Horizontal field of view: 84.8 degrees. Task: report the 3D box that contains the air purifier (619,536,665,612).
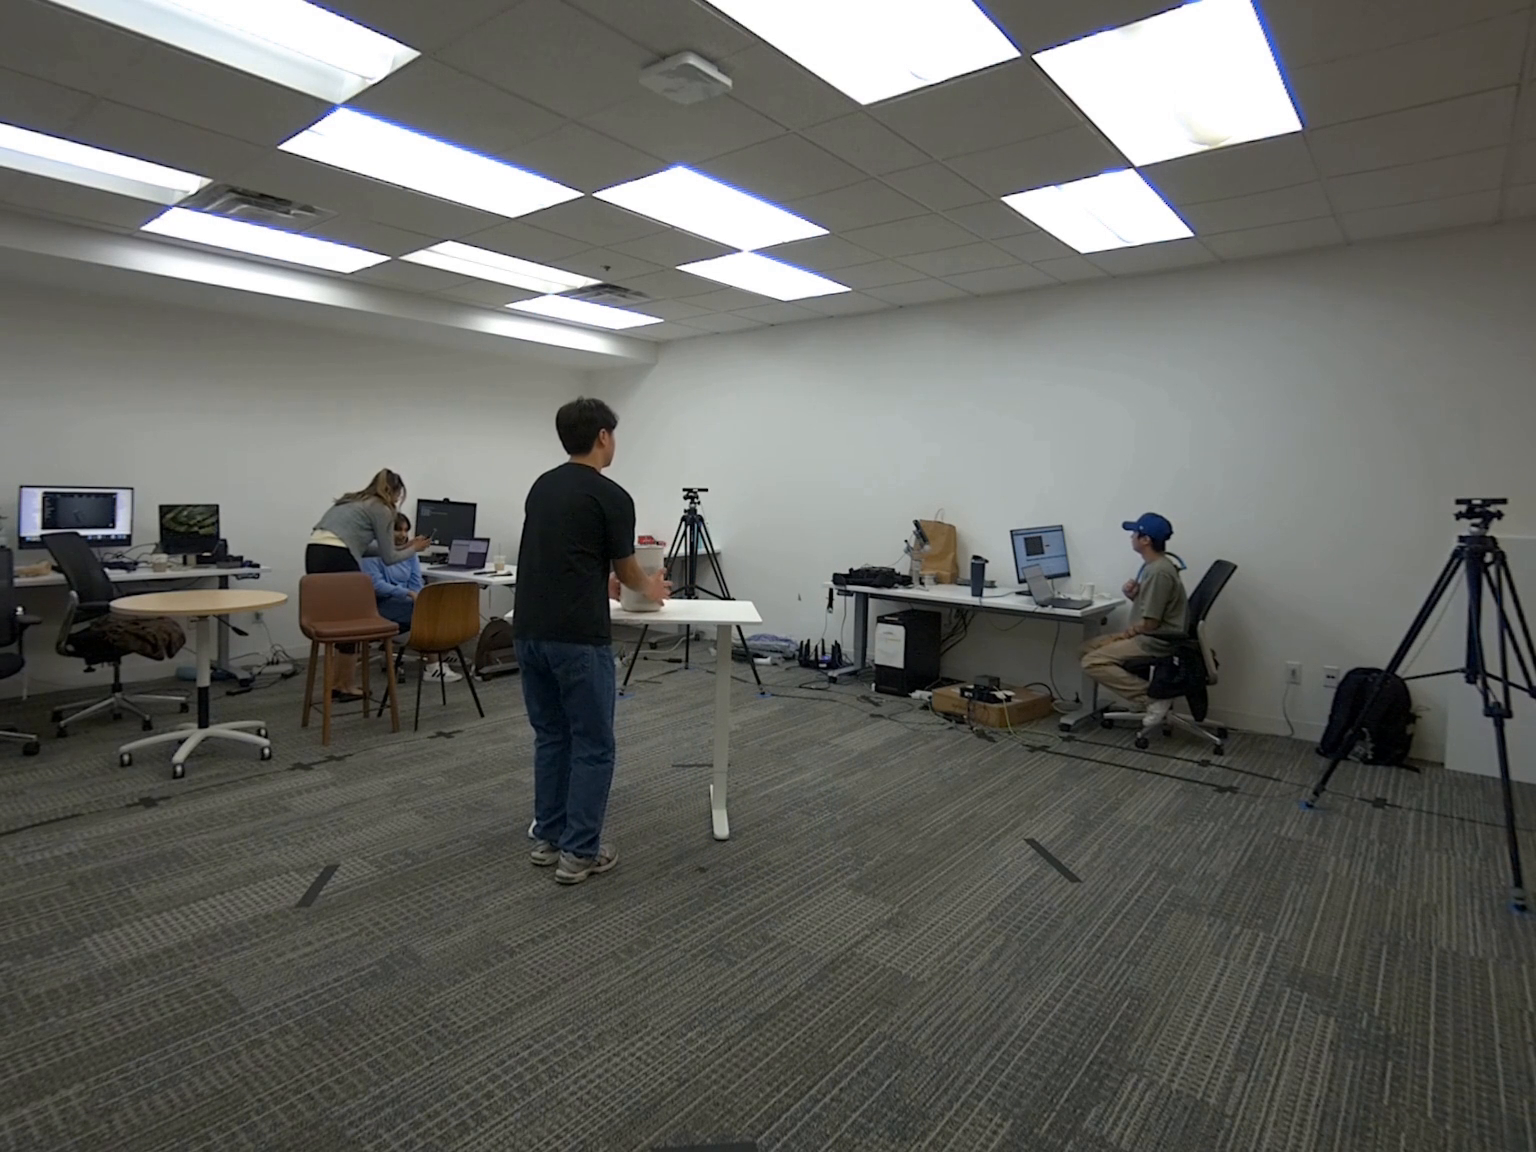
[{"bbox_3d":[-0.536,0.003,3.559,0.169,0.264,0.174,1,6,-14],"label":"air purifier"}]
